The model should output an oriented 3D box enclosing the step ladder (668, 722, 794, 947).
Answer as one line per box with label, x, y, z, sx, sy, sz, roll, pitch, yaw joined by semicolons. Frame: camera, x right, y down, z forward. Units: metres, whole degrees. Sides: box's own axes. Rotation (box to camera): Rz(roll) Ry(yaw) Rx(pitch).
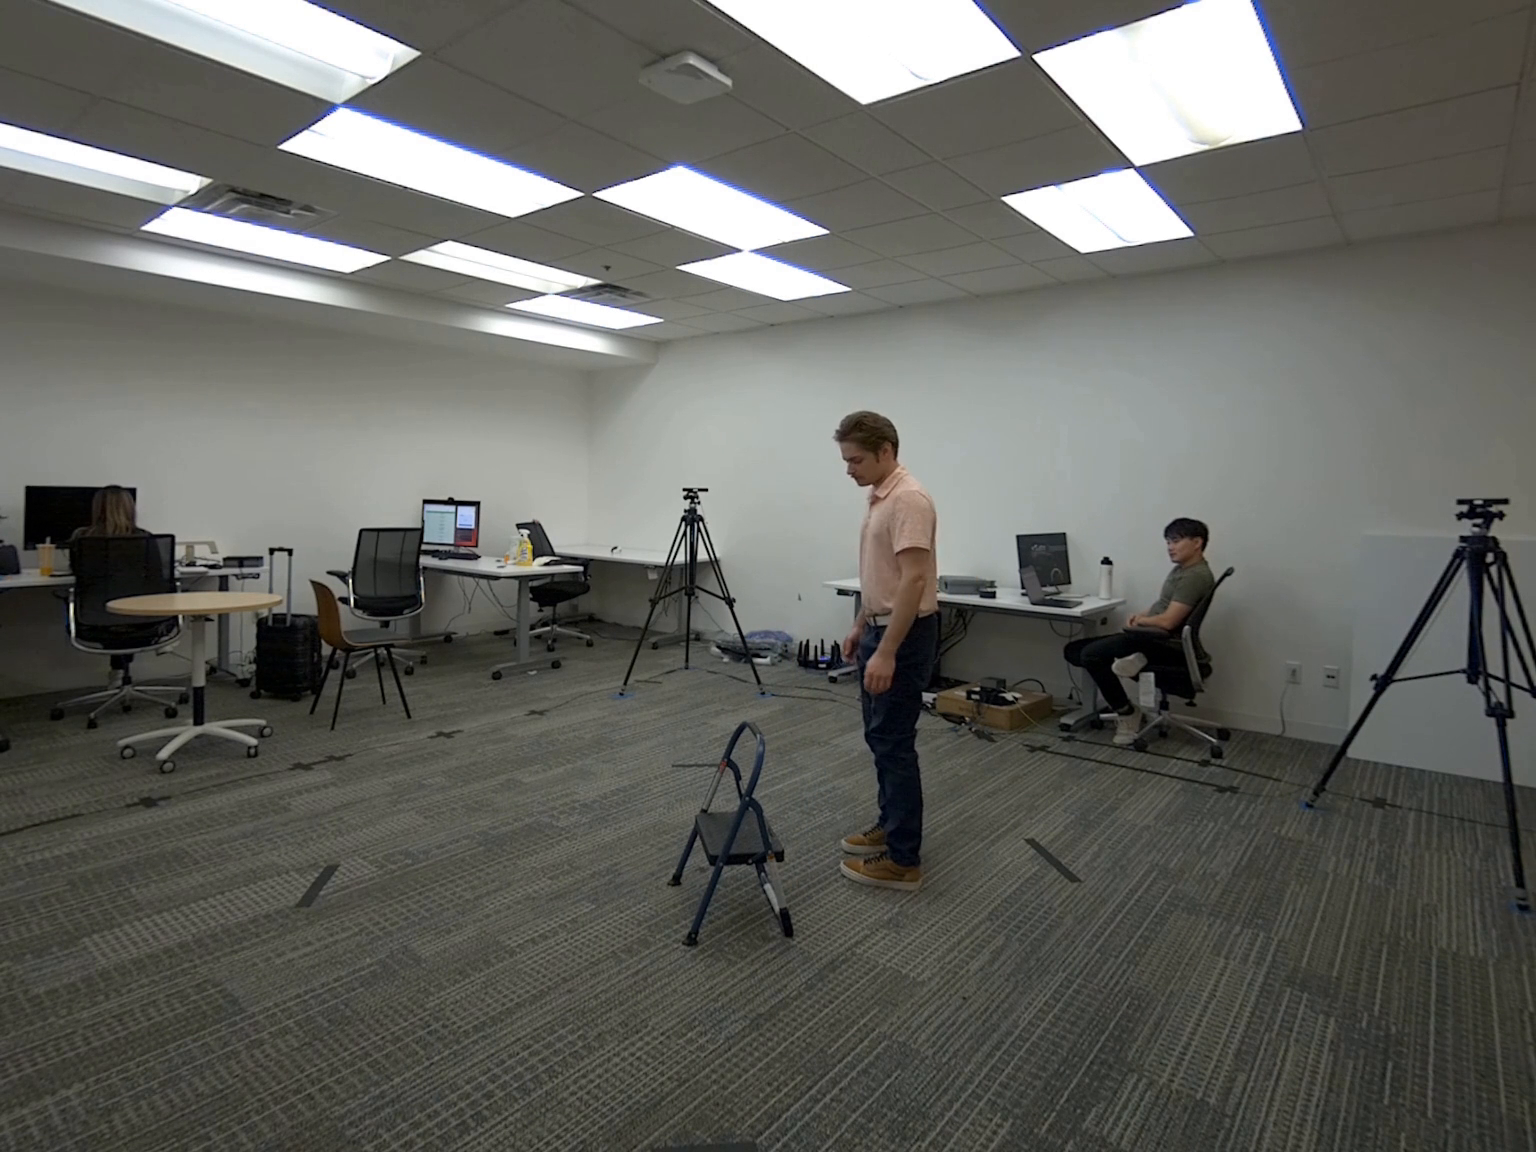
step ladder;-0.126;0.803;2.799;0.345;0.604;0.438;0;4;-13
